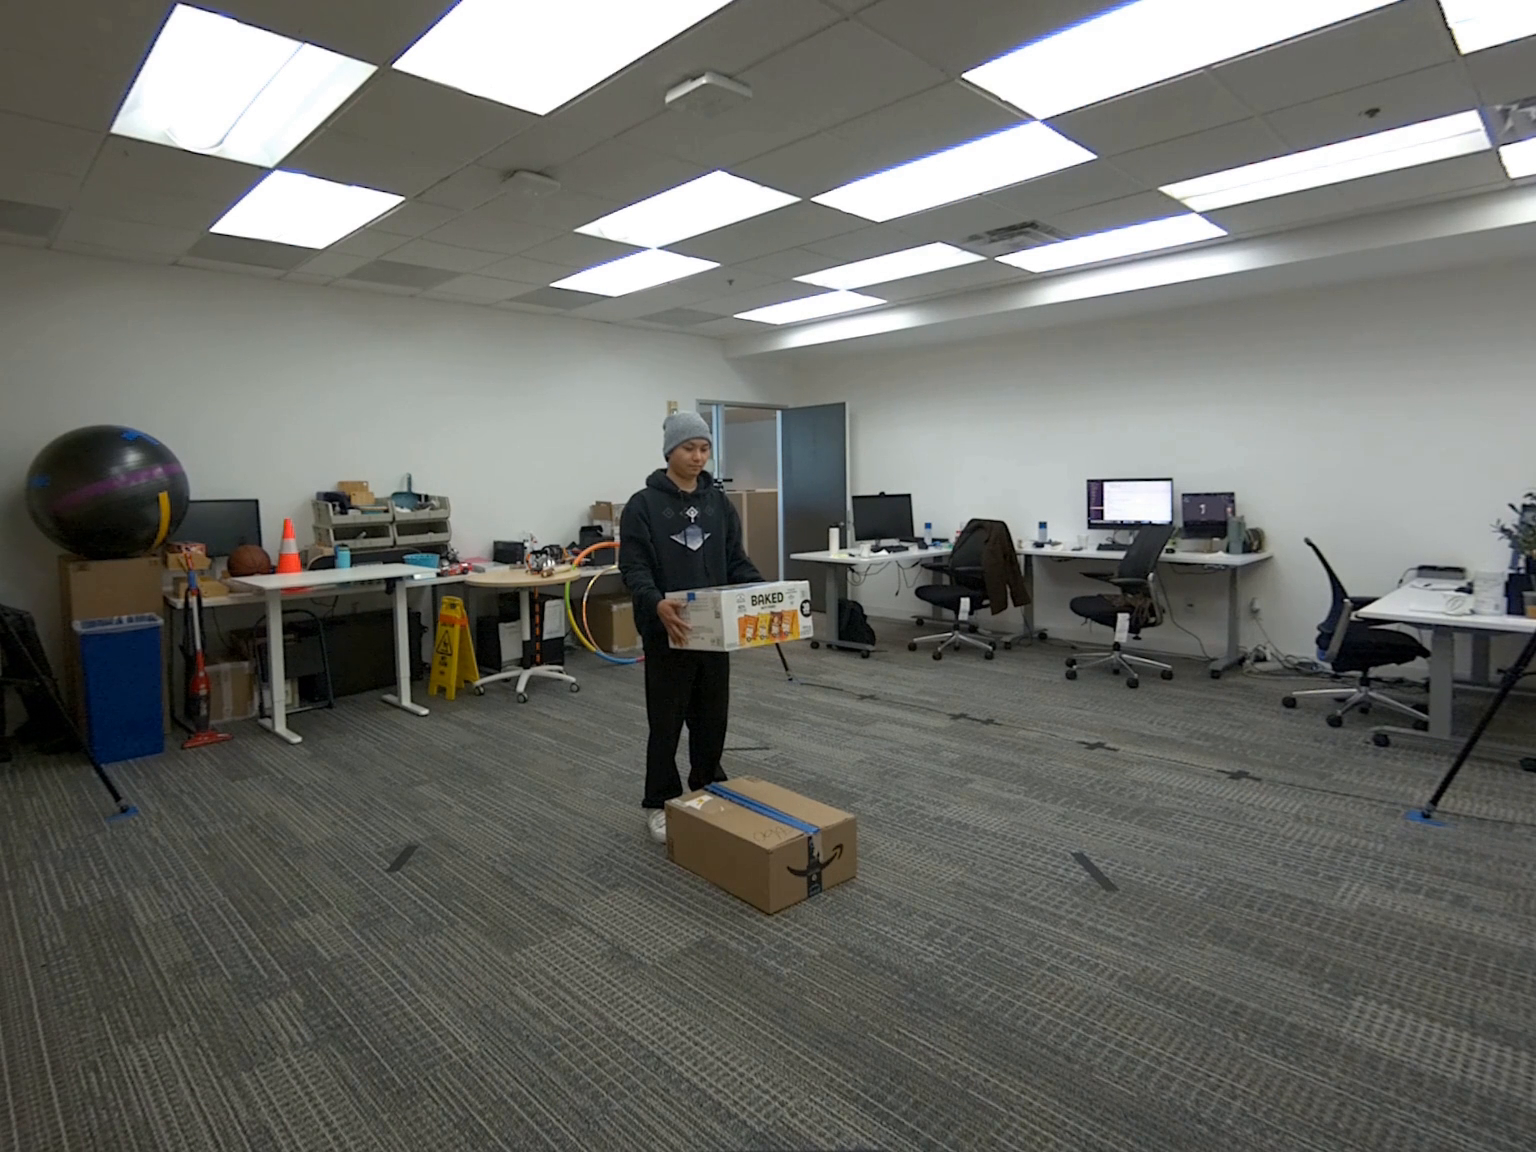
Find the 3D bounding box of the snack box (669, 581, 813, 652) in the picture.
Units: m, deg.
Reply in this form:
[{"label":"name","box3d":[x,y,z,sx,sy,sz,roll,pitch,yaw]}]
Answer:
[{"label":"snack box","box3d":[-0.103,0.142,3.087,0.395,0.206,0.349,-6,1,-39]}]
